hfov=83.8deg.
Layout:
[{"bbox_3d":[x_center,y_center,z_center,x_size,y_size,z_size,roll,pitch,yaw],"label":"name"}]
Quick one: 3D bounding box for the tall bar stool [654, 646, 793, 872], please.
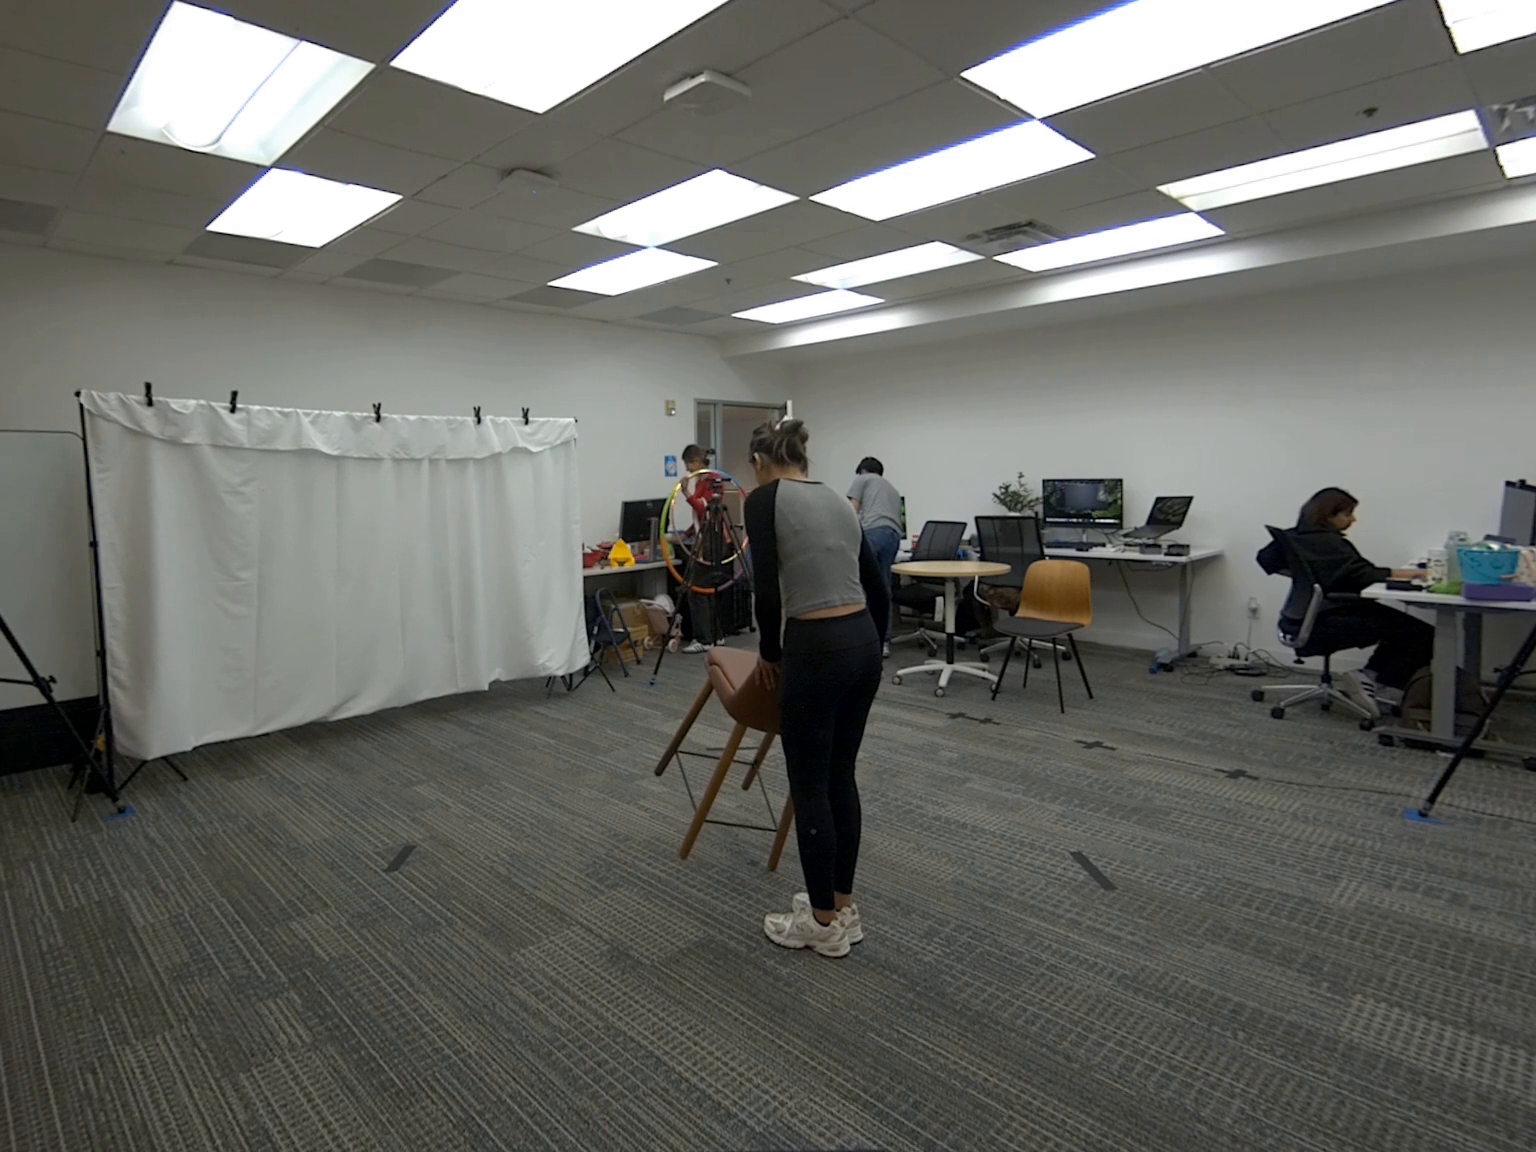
[{"bbox_3d":[-0.032,0.537,3.031,0.446,0.882,0.483,16,22,-22],"label":"tall bar stool"}]
